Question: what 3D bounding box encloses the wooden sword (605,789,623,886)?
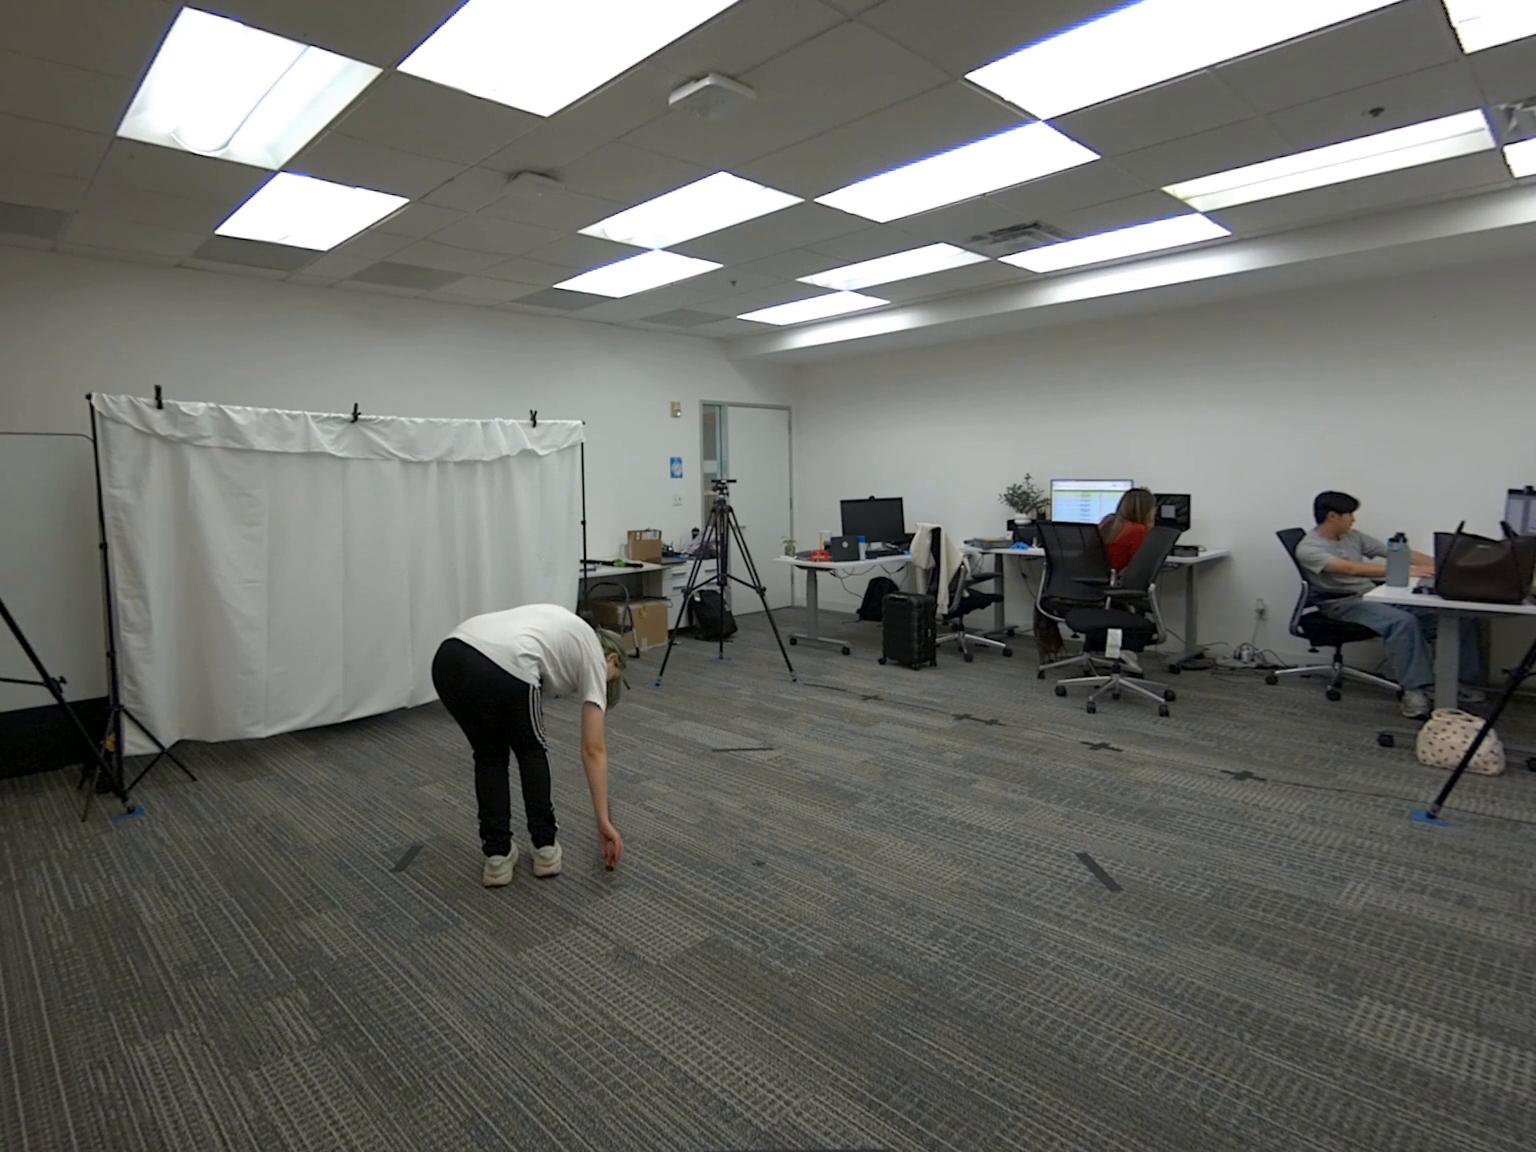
[{"bbox_3d":[-0.638,0.995,3.412,0.050,0.024,1.037,43,-6,-11],"label":"wooden sword"}]
